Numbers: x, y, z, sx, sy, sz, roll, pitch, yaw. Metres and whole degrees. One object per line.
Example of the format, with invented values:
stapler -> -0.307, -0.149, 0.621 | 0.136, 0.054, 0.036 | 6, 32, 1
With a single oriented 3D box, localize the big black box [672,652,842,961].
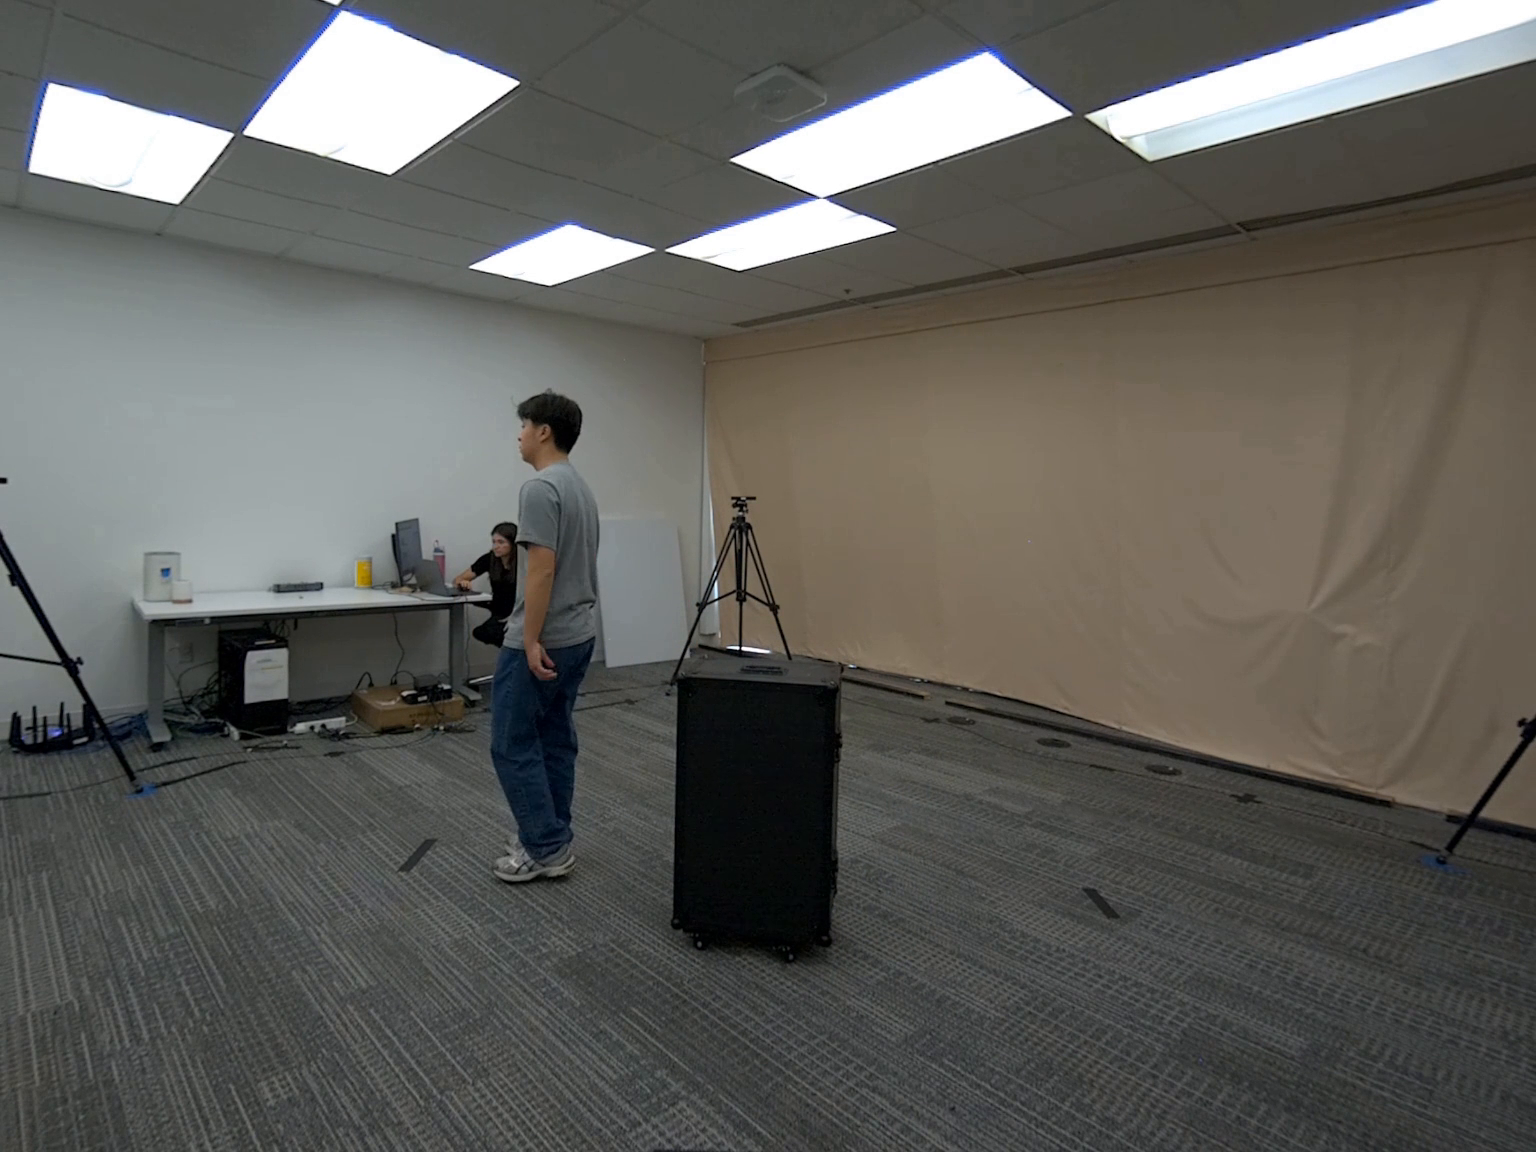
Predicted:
big black box -> -0.034, 0.721, 2.683 | 0.526, 0.860, 0.393 | 2, 3, 11
